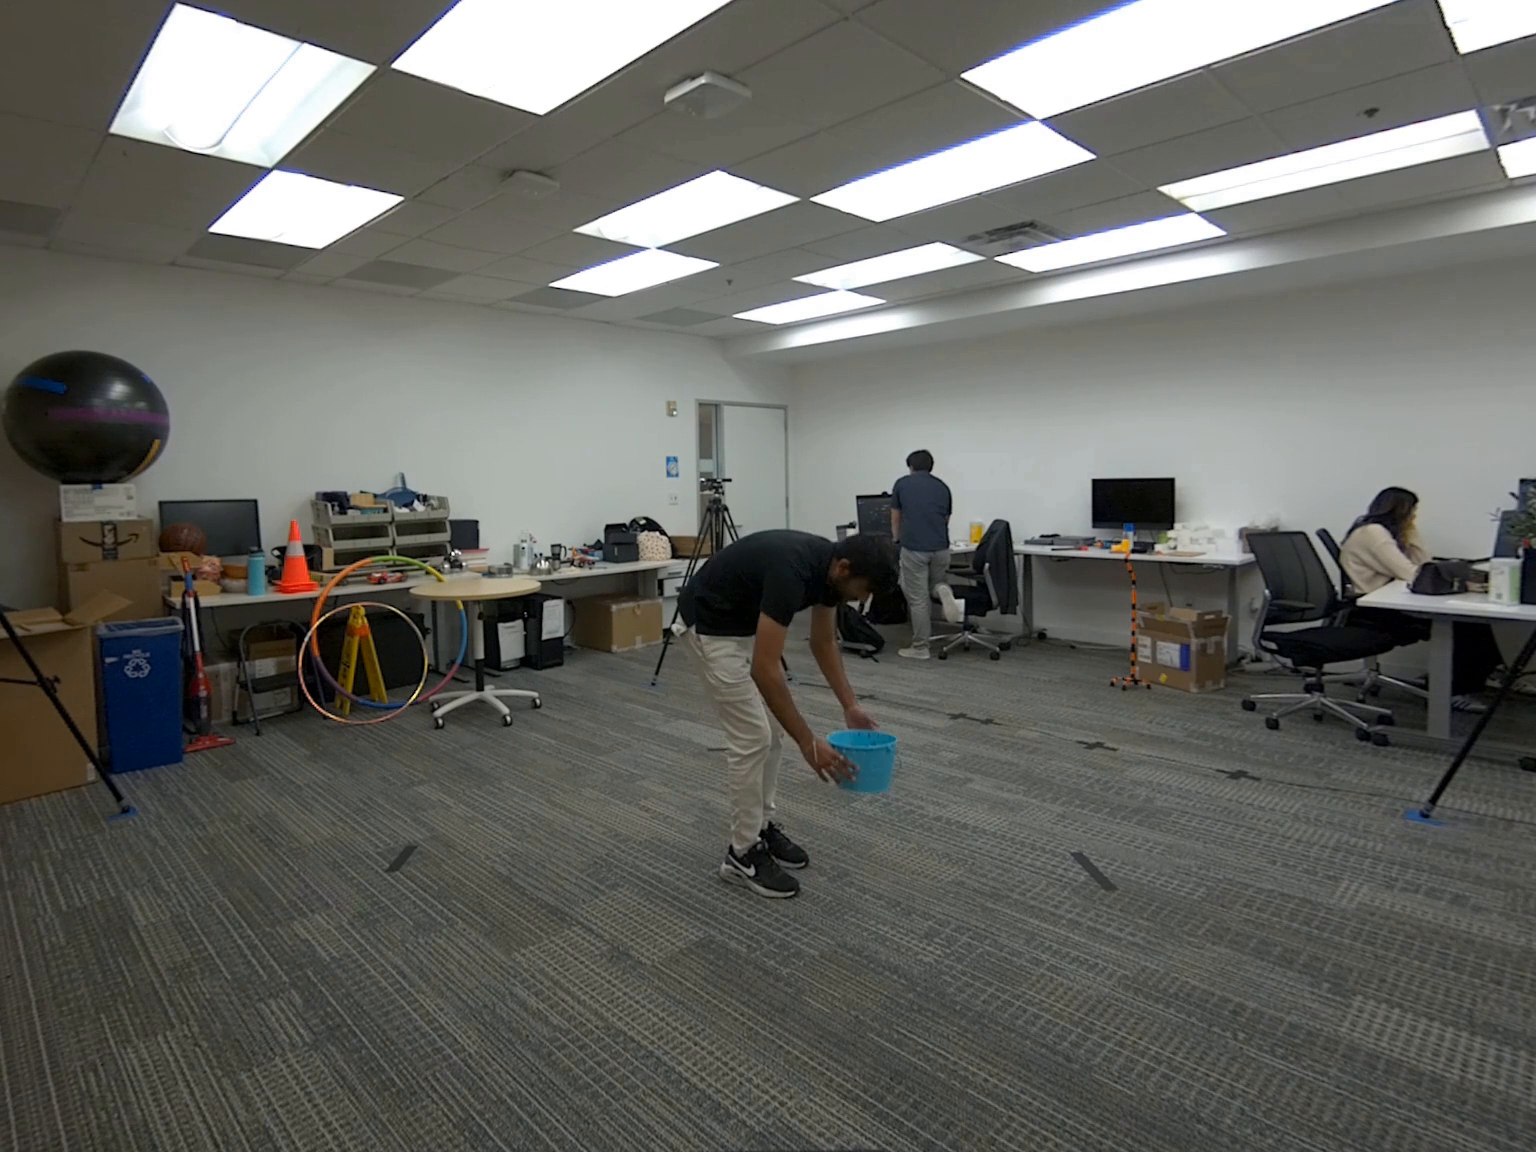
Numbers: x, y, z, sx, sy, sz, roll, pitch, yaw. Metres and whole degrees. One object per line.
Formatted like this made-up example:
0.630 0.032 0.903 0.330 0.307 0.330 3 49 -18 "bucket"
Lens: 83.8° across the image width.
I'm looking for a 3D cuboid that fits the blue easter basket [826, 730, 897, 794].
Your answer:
0.315 0.606 2.796 0.243 0.155 0.244 -1 4 -2 "blue easter basket"
